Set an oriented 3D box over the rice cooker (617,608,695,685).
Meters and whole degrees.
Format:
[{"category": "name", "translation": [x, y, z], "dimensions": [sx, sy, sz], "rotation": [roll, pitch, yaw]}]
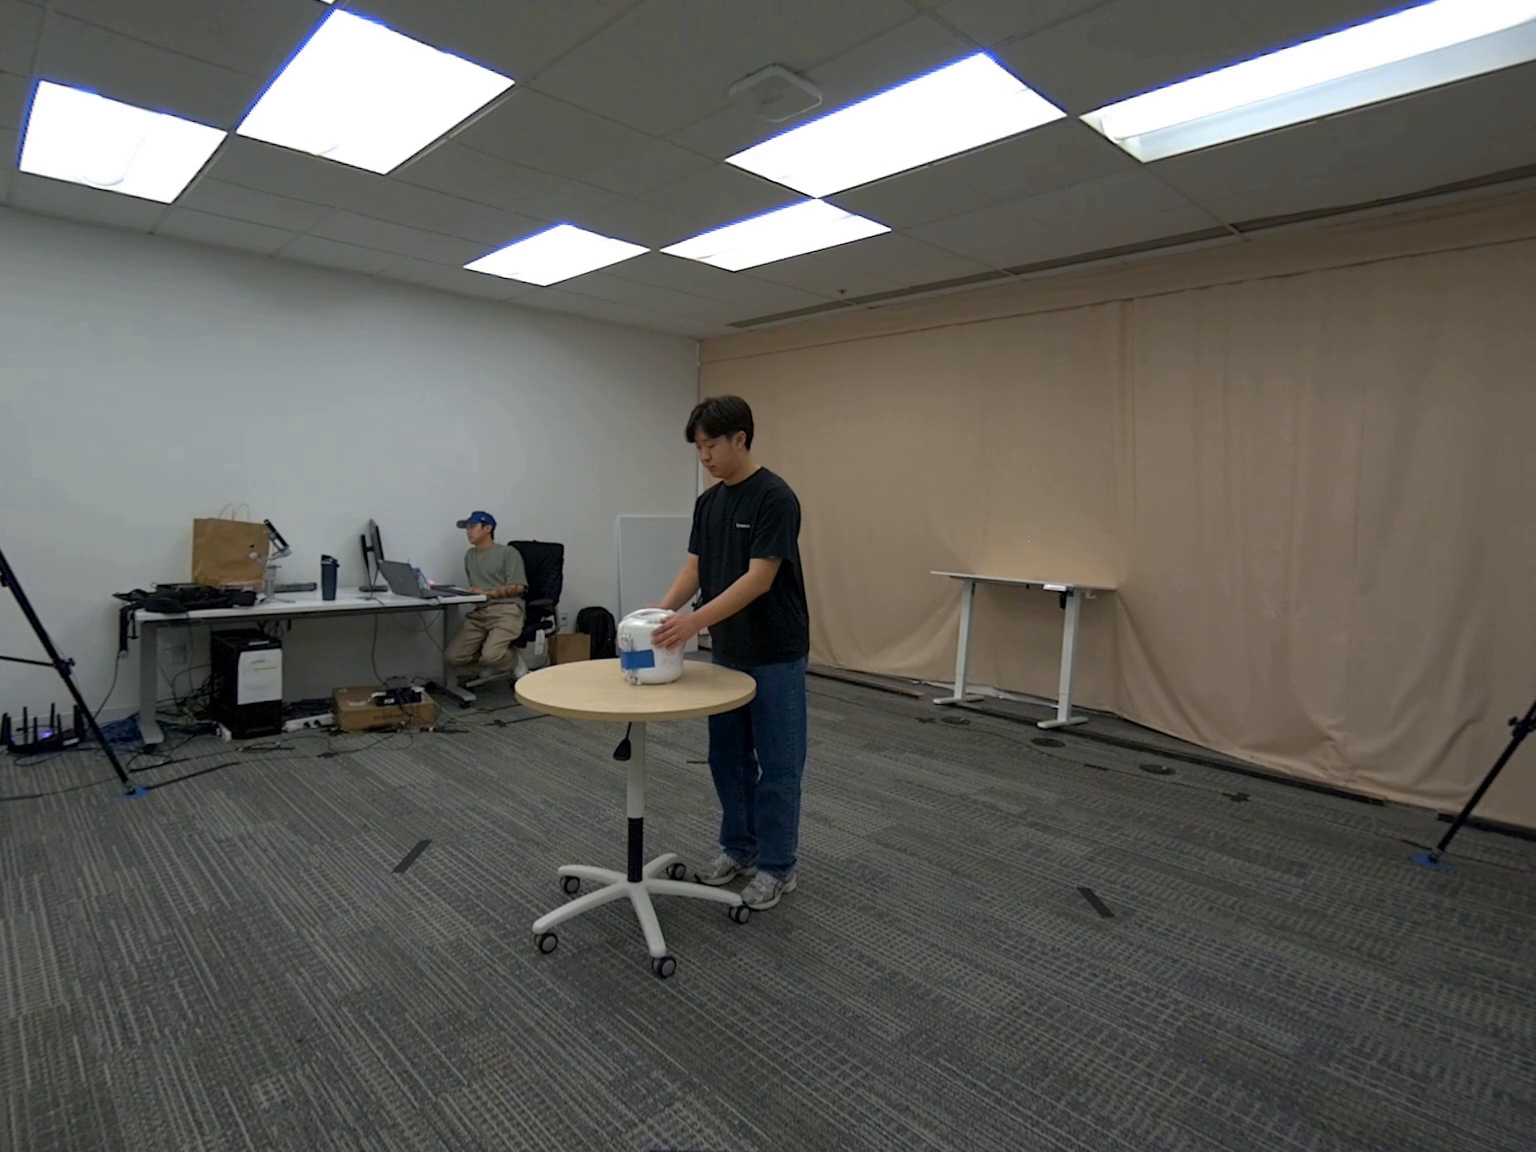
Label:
[{"category": "rice cooker", "translation": [-0.380, 0.223, 2.745], "dimensions": [0.218, 0.232, 0.220], "rotation": [2, 4, -13]}]
